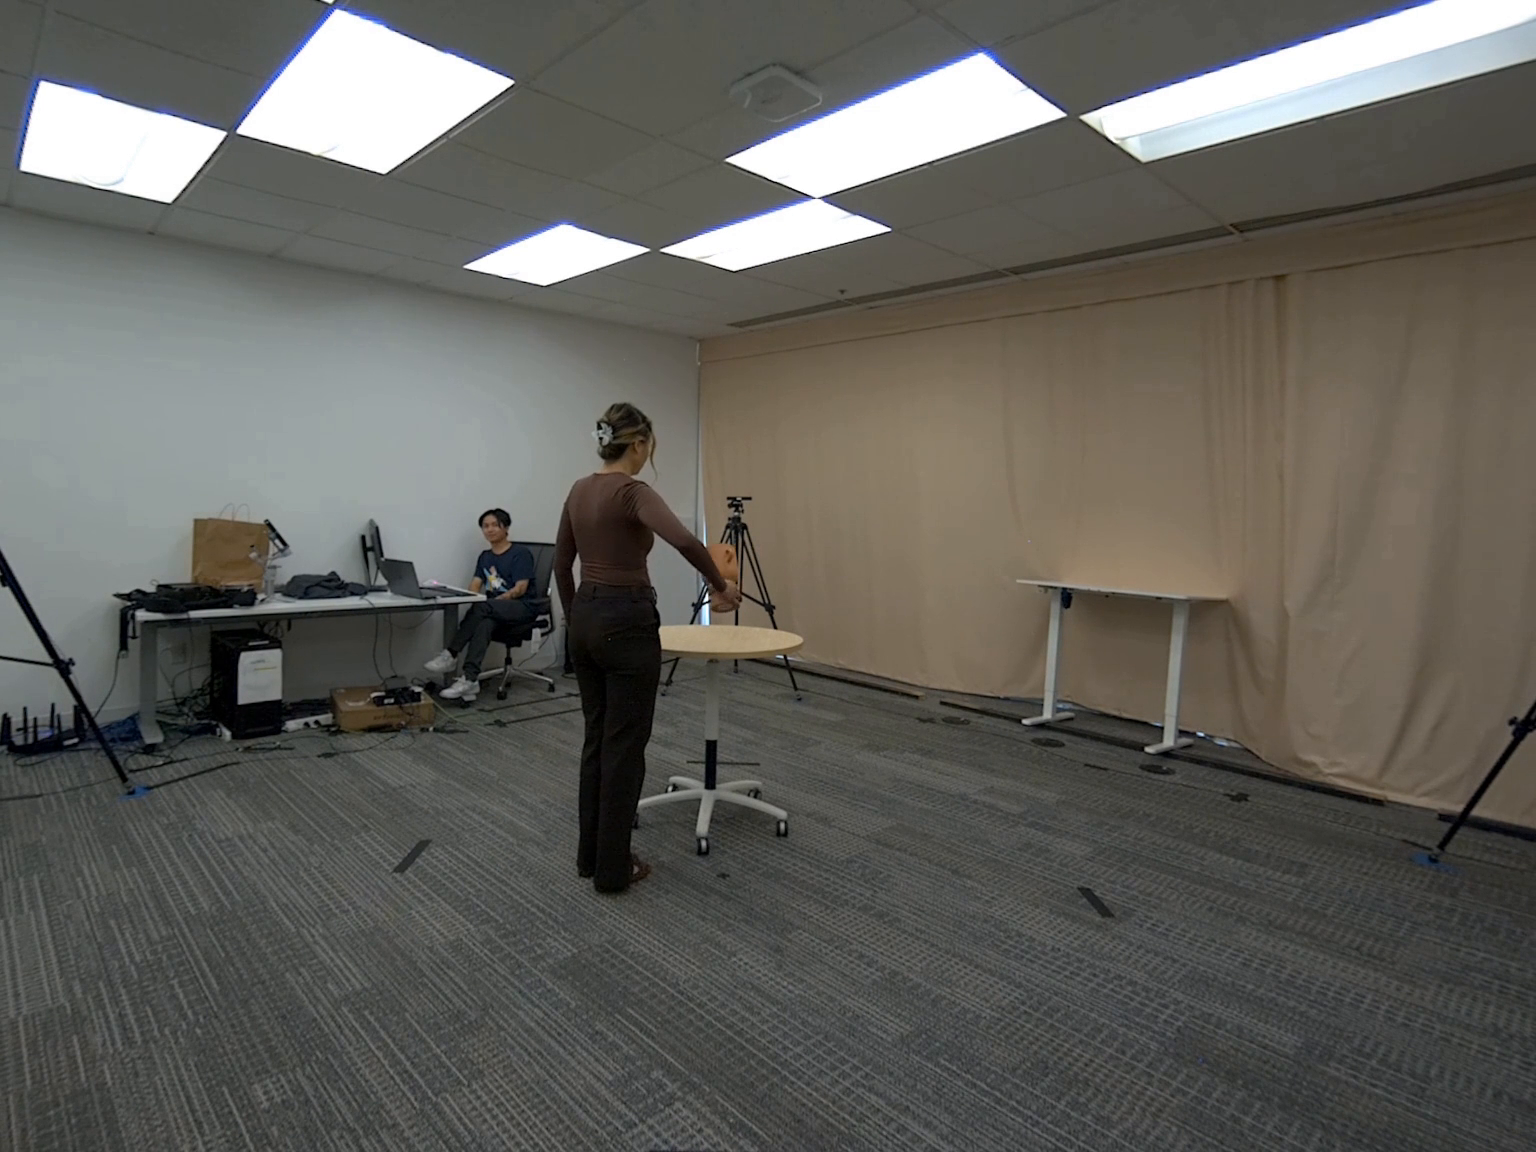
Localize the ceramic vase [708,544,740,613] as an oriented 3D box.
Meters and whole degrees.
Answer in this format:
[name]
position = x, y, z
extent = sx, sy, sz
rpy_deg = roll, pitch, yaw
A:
[ceramic vase]
position = -0.170, 0.014, 2.984
extent = 0.135, 0.224, 0.155
rpy_deg = -12, -27, 6
